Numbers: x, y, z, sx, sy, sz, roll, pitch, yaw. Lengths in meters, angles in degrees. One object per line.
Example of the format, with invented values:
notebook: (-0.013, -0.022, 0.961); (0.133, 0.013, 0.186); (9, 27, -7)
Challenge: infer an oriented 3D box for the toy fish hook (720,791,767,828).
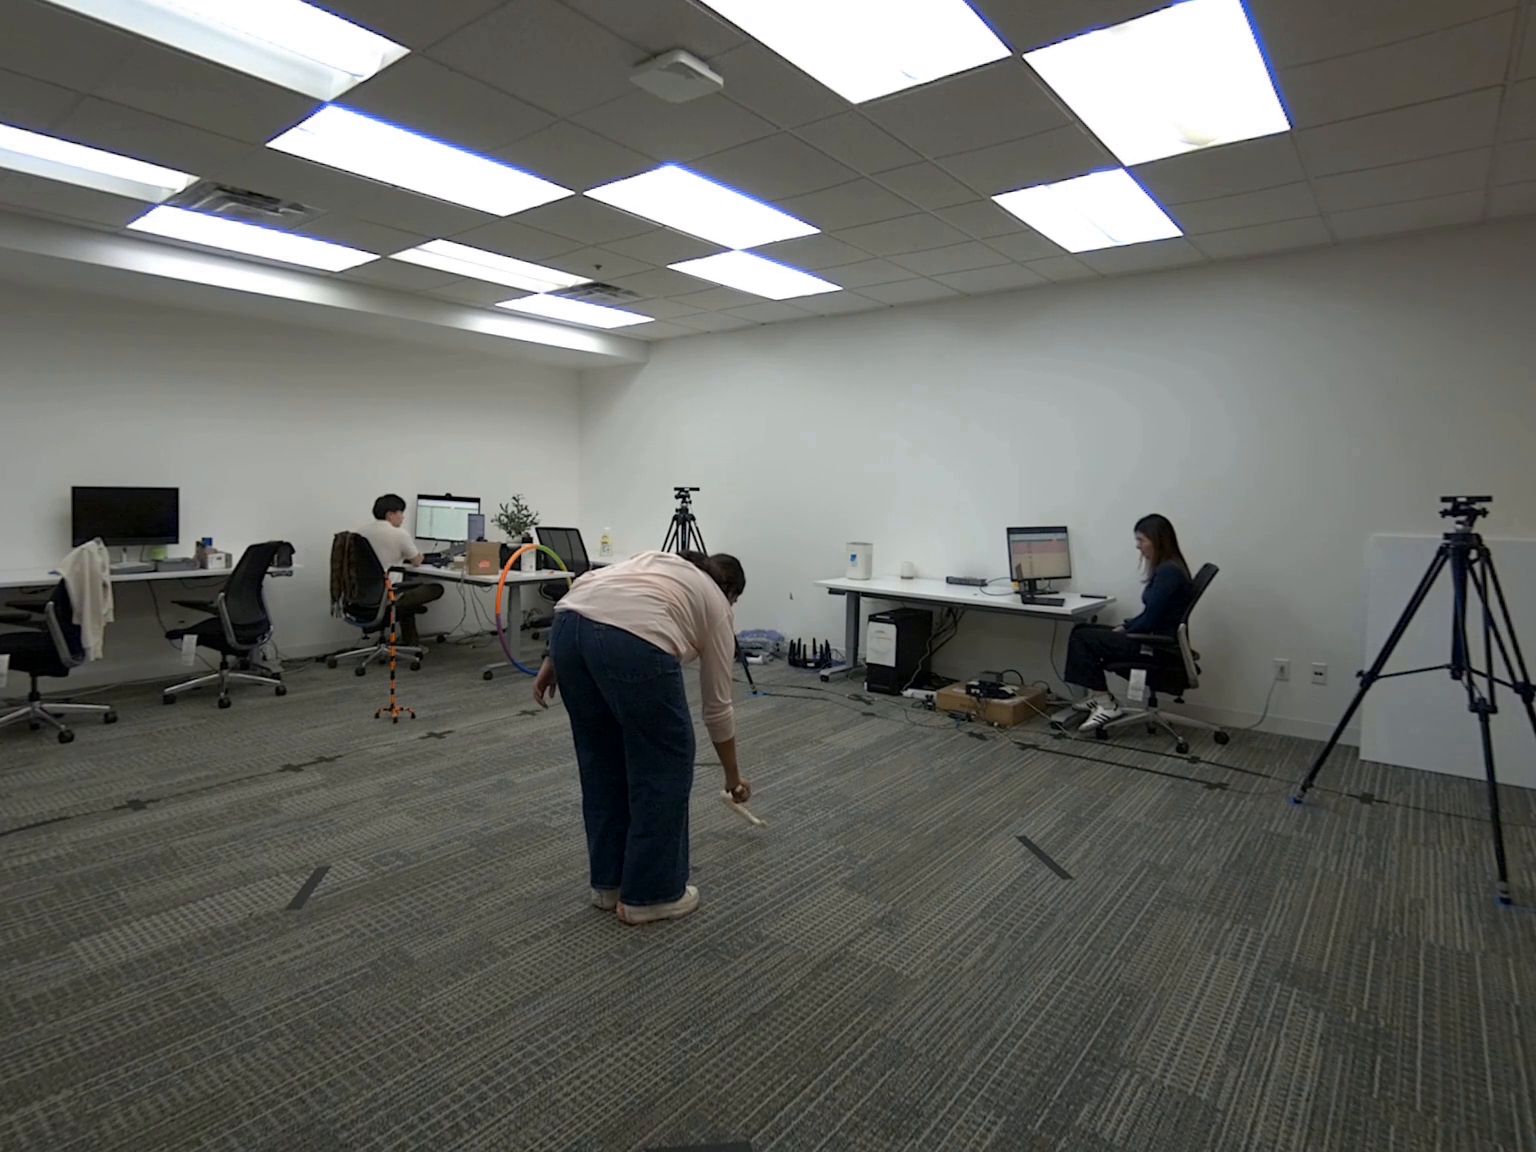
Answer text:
toy fish hook: (-0.086, 0.862, 3.211); (0.227, 0.048, 0.499); (33, -20, 6)
